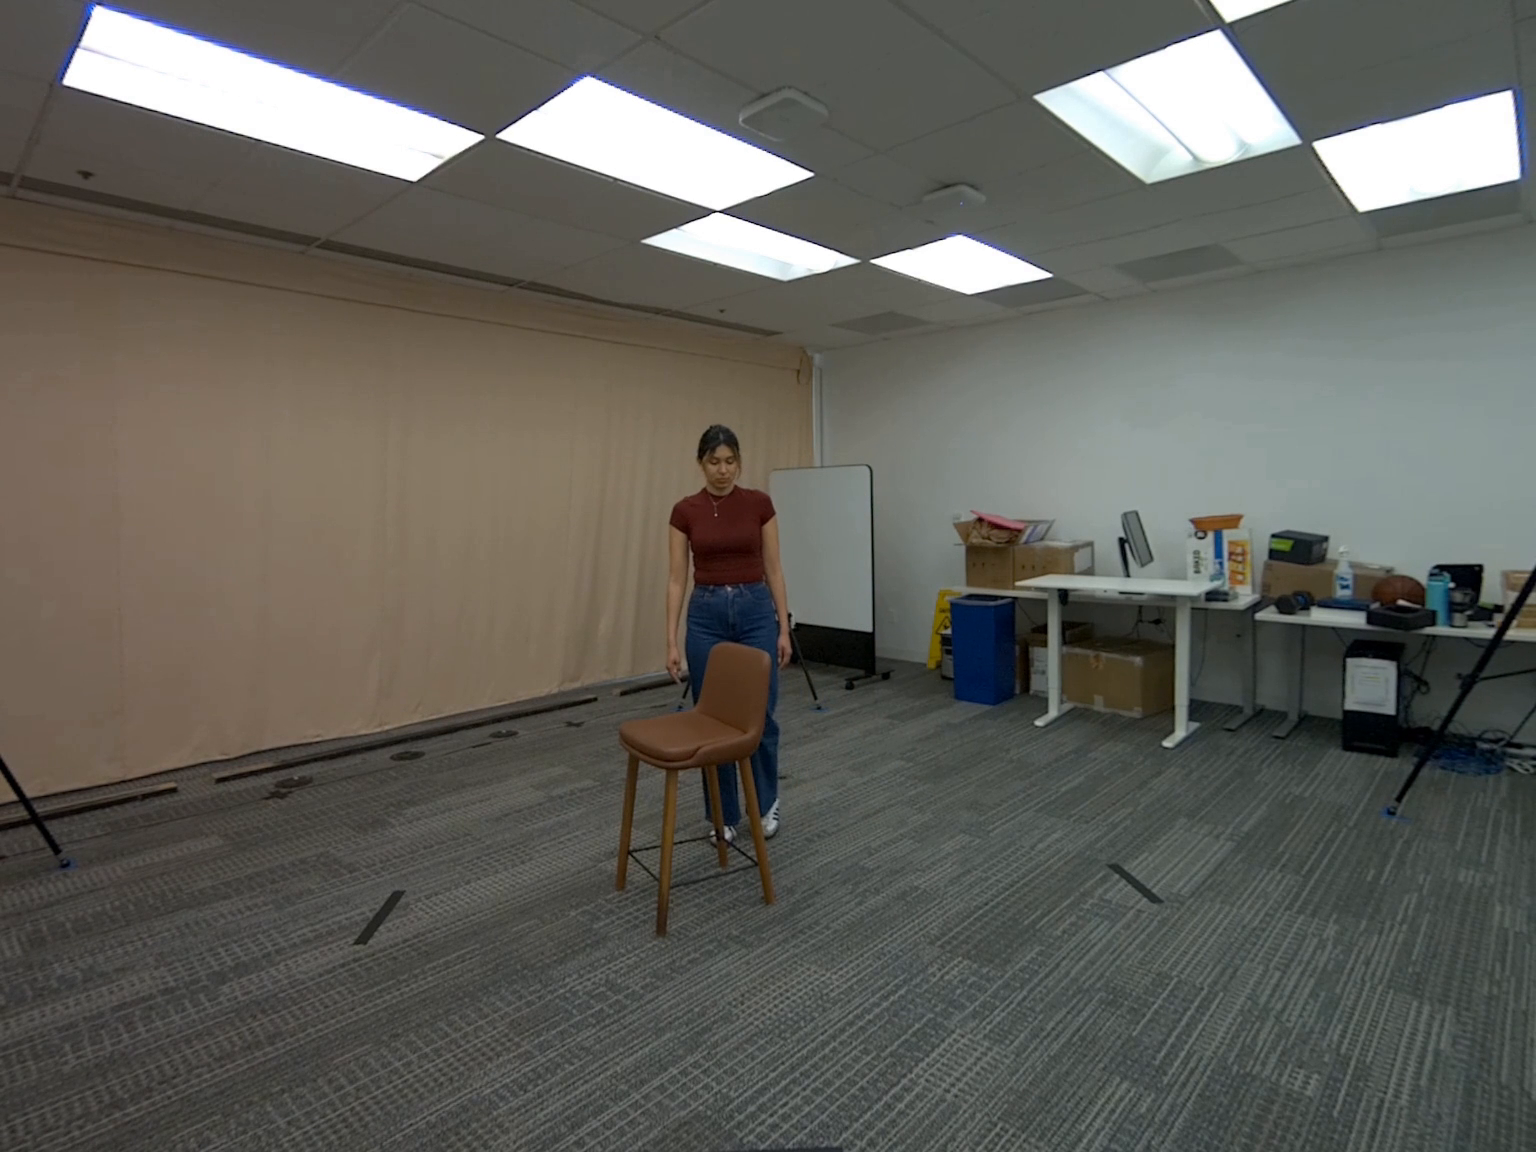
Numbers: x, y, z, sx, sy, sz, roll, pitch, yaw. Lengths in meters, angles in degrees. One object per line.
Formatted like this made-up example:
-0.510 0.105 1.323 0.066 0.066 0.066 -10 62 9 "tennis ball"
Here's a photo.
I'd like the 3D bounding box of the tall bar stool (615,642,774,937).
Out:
-0.260 0.704 2.981 0.455 0.888 0.469 -1 3 -30 "tall bar stool"
